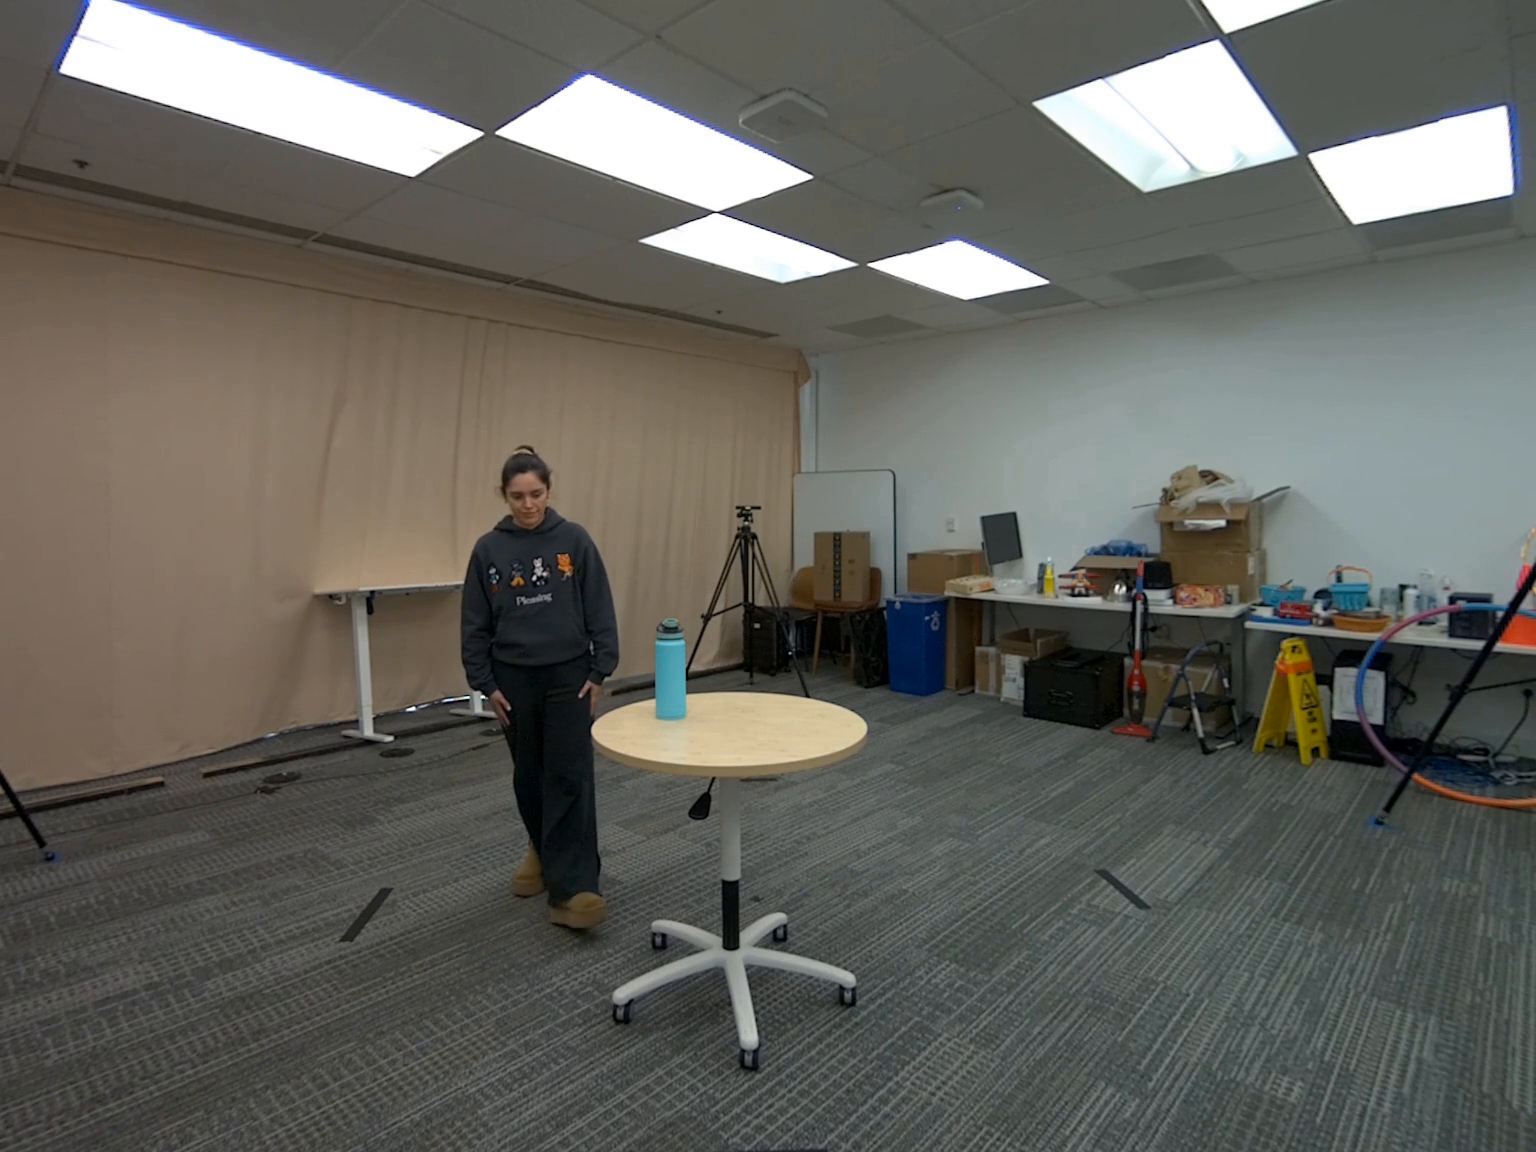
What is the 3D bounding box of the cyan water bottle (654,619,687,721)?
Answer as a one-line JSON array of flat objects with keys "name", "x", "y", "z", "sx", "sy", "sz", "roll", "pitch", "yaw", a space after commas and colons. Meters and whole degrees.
[{"name": "cyan water bottle", "x": -0.272, "y": 0.271, "z": 2.443, "sx": 0.092, "sy": 0.283, "sz": 0.092, "roll": -2, "pitch": 2, "yaw": -2}]
